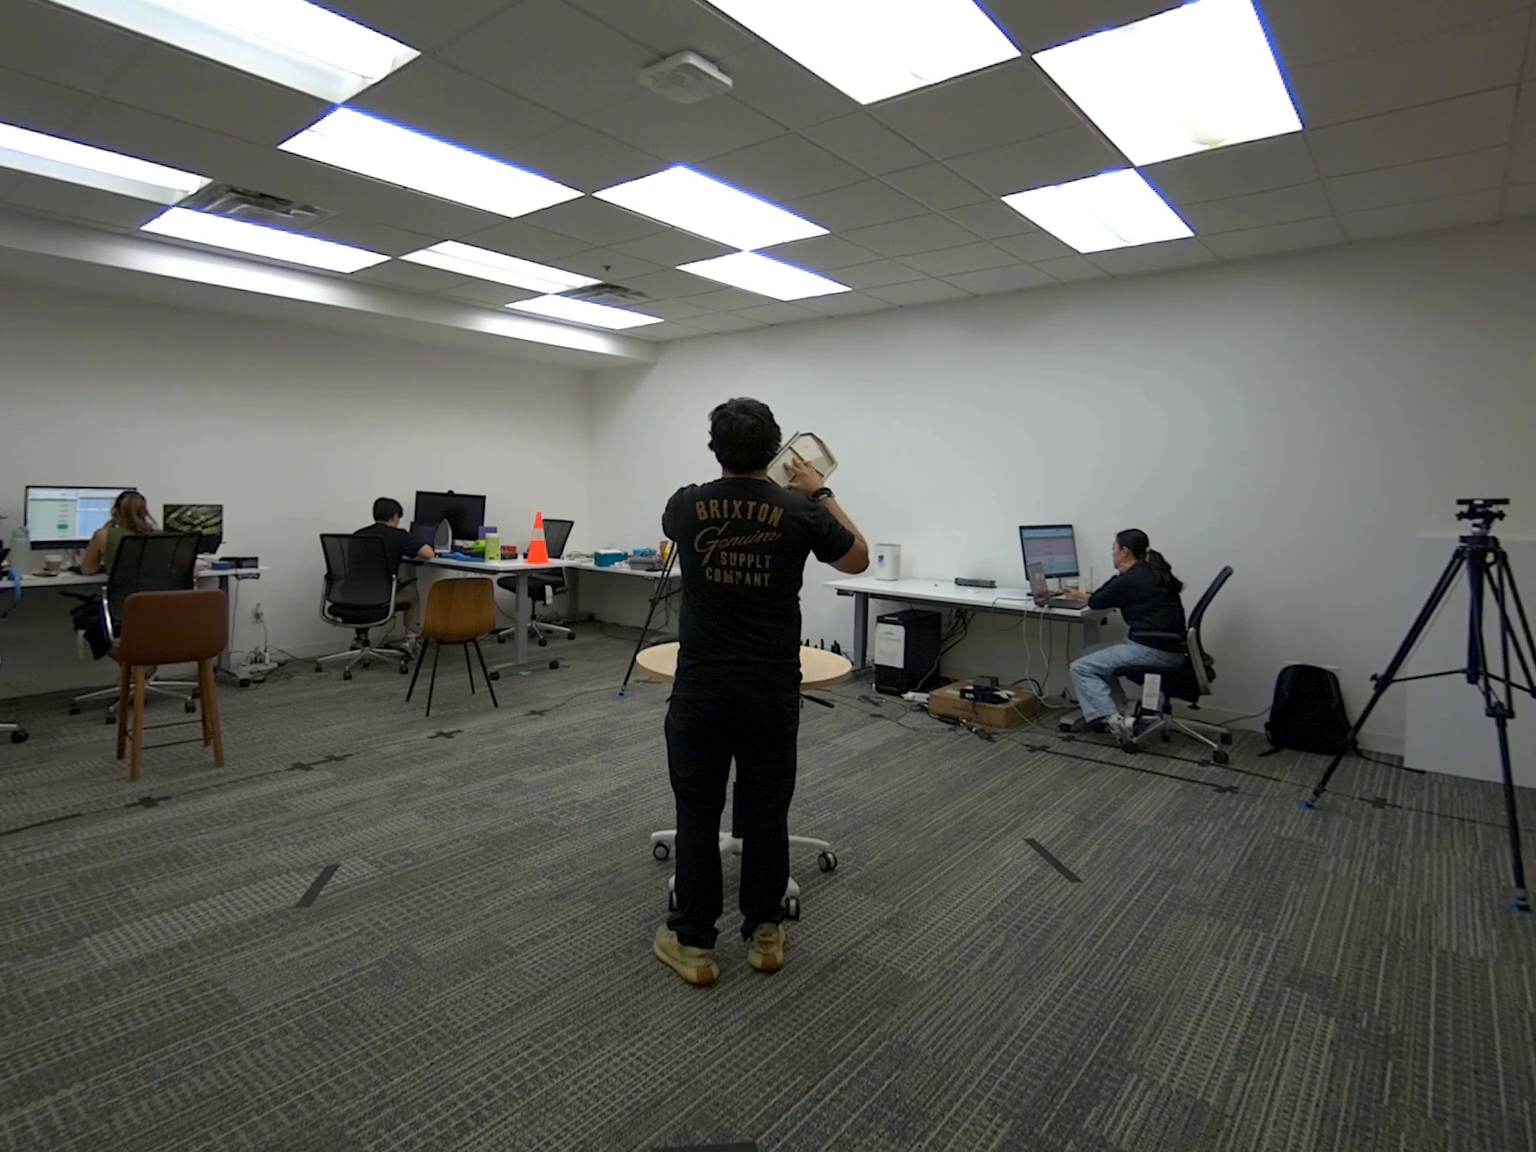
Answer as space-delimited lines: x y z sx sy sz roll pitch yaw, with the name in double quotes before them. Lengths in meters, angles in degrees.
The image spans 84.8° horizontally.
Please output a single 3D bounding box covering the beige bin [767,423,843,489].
"beige bin" -0.019 -0.257 2.883 0.377 0.188 0.425 -49 7 -38
